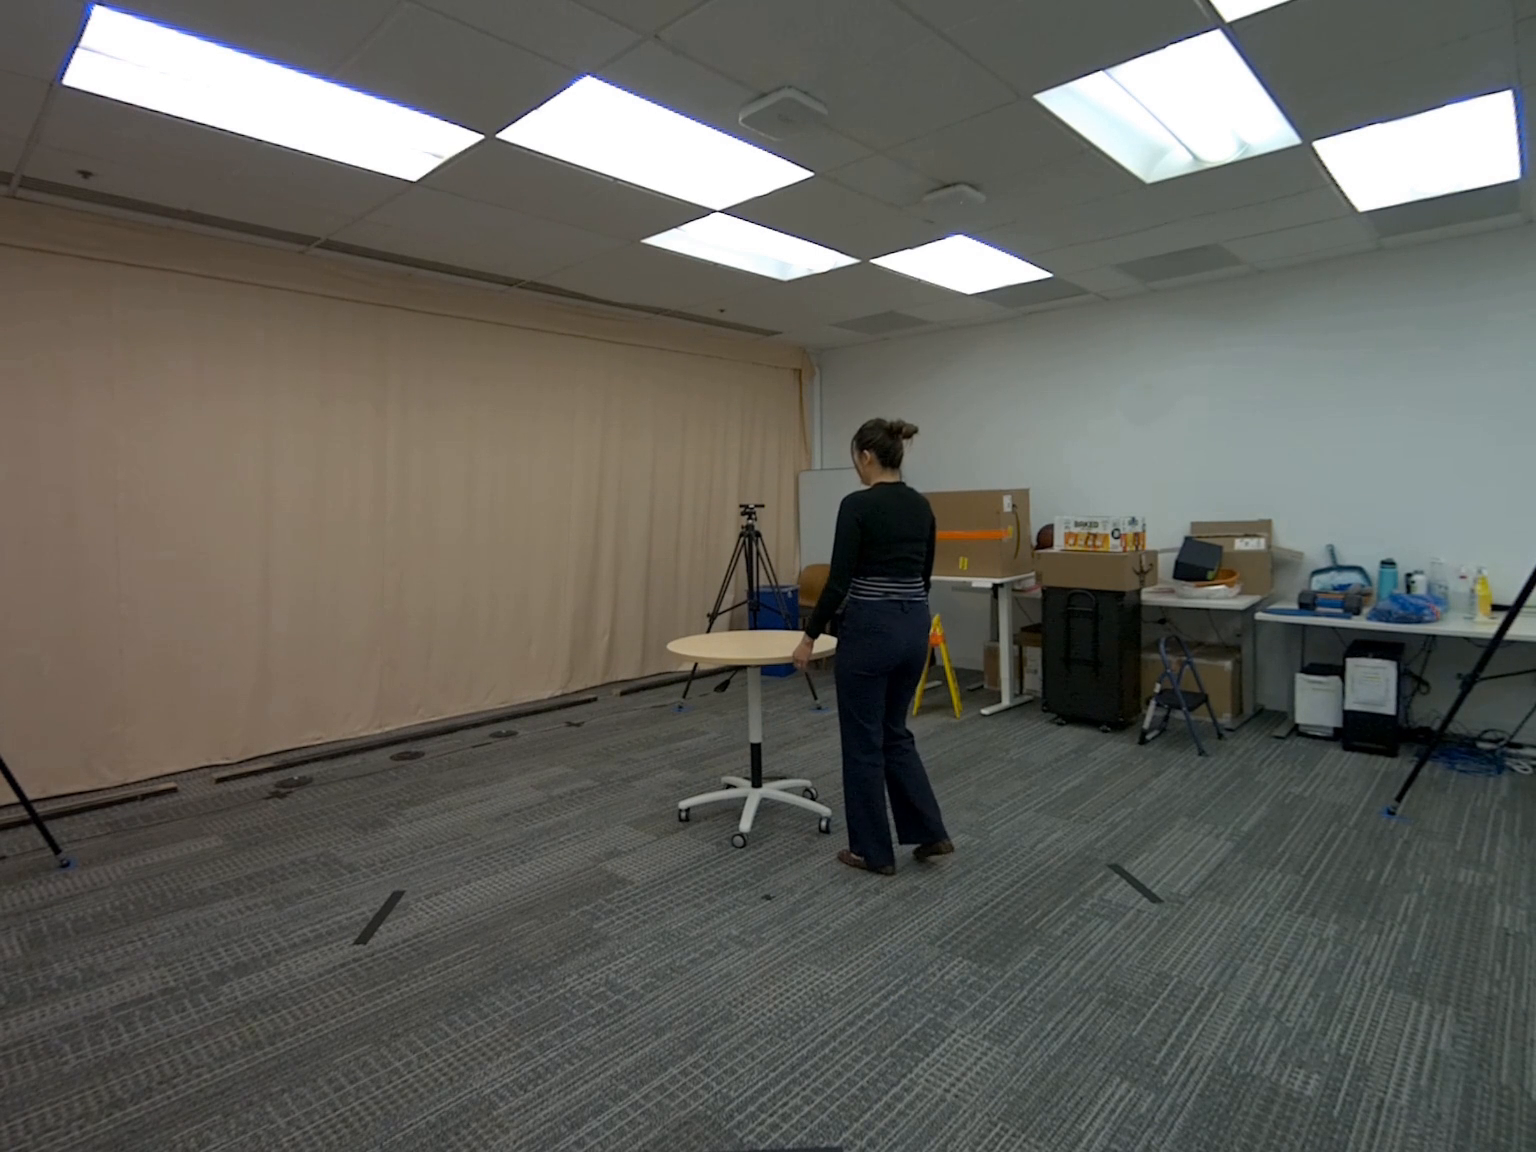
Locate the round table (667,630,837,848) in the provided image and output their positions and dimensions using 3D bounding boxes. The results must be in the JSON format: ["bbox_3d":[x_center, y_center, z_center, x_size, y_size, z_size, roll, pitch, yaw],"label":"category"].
[{"bbox_3d":[-0.049,0.688,3.726,0.763,0.792,0.766,-1,3,-2],"label":"round table"}]
